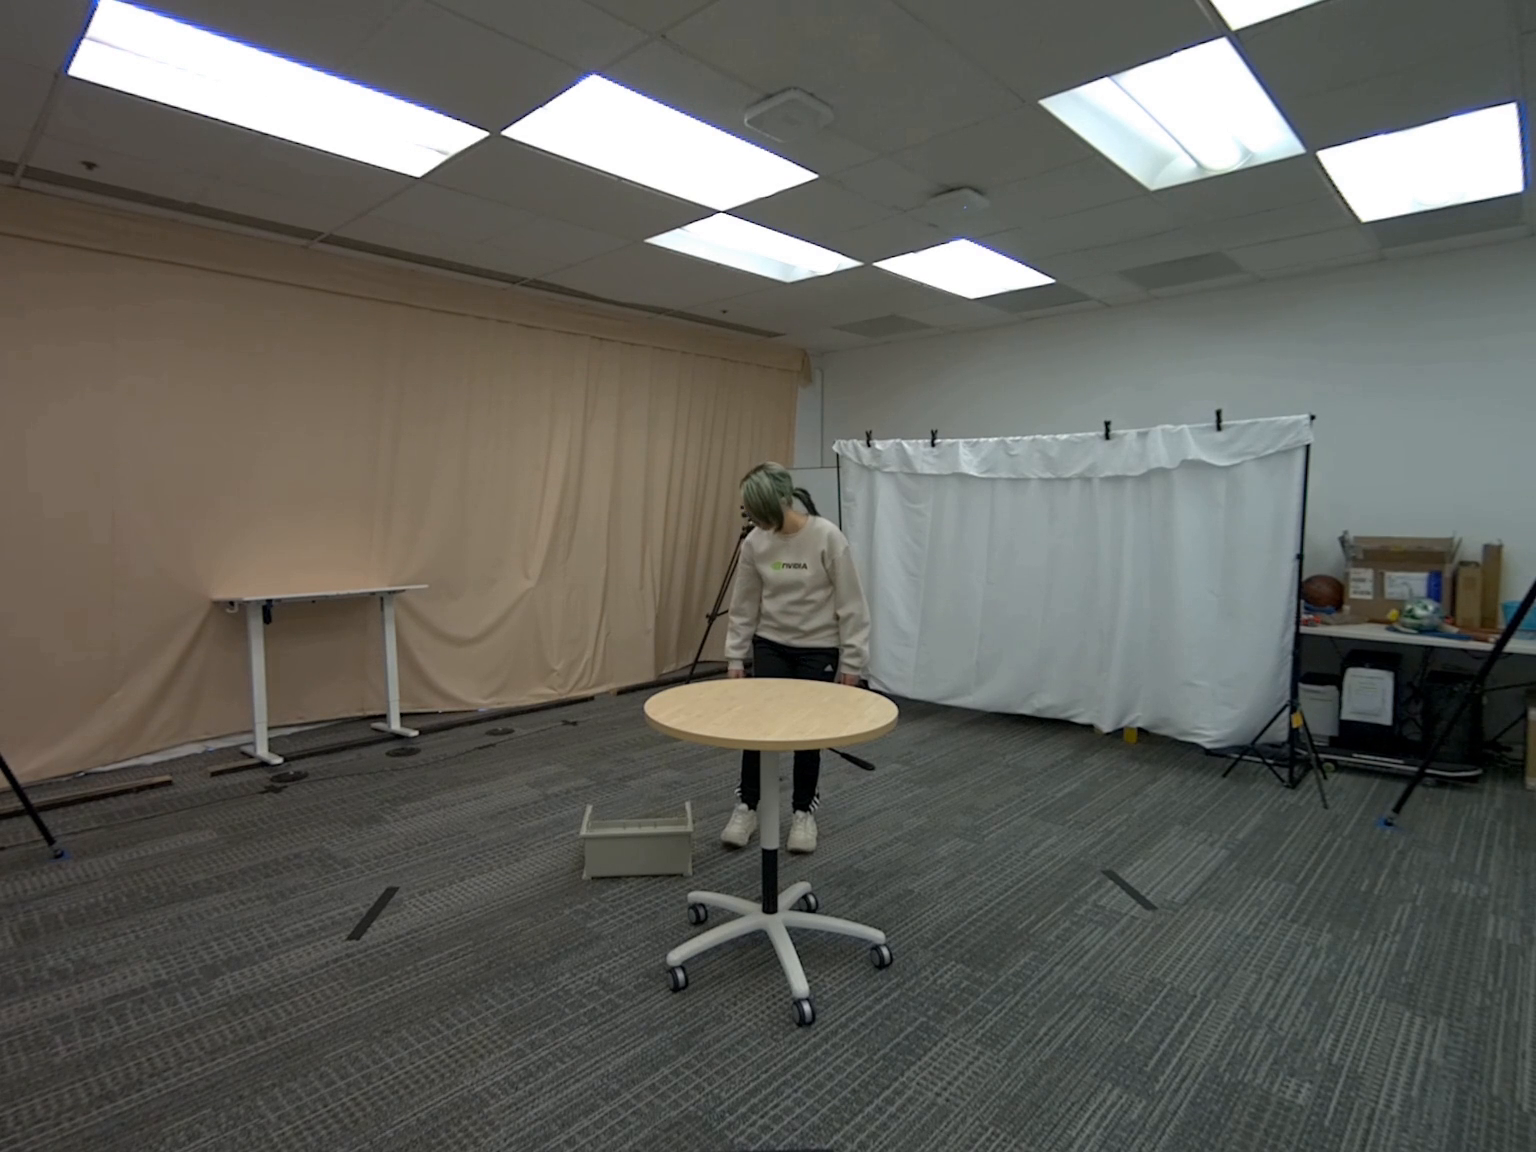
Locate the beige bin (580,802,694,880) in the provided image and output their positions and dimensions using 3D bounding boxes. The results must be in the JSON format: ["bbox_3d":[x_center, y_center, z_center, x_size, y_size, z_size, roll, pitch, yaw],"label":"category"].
[{"bbox_3d":[-0.517,1.033,3.328,0.420,0.188,0.380,0,5,-6],"label":"beige bin"}]
